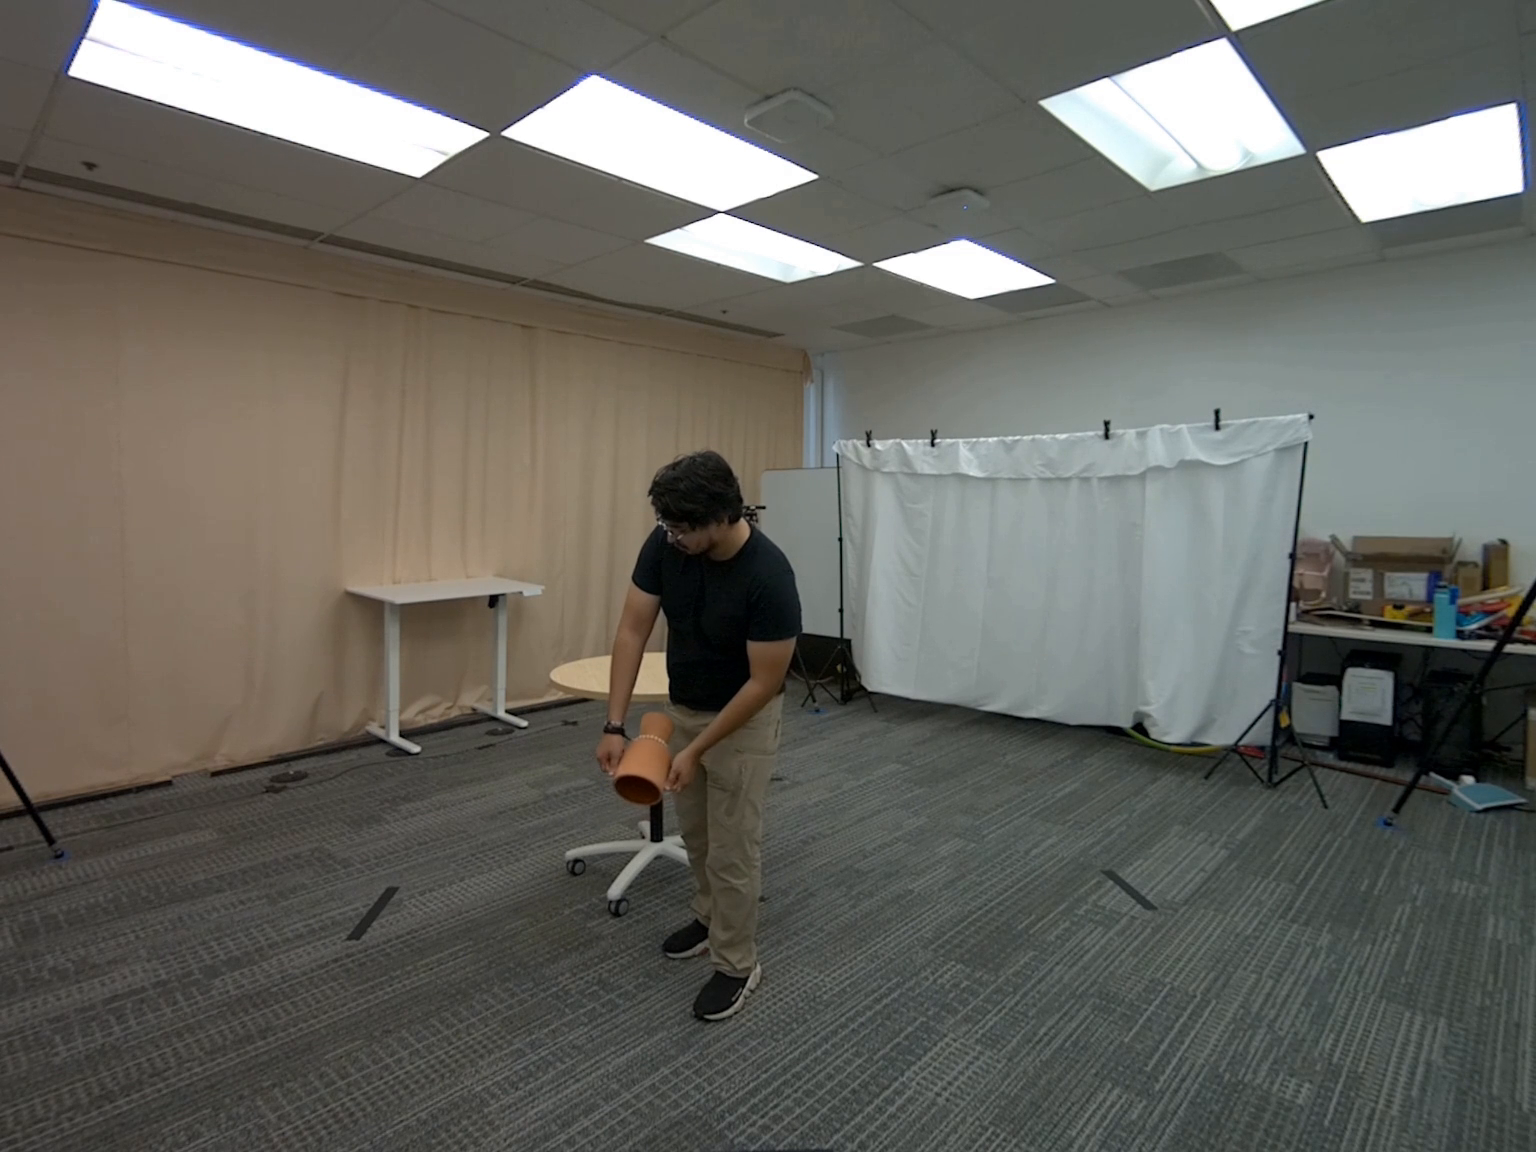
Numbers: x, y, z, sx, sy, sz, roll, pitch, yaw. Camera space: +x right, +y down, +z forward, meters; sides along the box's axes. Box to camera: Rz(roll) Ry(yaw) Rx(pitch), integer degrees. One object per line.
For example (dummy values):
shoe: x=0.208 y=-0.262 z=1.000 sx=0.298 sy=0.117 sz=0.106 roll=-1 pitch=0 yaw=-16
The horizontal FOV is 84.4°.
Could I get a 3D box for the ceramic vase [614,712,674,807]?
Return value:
ceramic vase: x=-0.318 y=0.473 z=2.237 sx=0.137 sy=0.155 sz=0.221 roll=-29 pitch=26 yaw=30
